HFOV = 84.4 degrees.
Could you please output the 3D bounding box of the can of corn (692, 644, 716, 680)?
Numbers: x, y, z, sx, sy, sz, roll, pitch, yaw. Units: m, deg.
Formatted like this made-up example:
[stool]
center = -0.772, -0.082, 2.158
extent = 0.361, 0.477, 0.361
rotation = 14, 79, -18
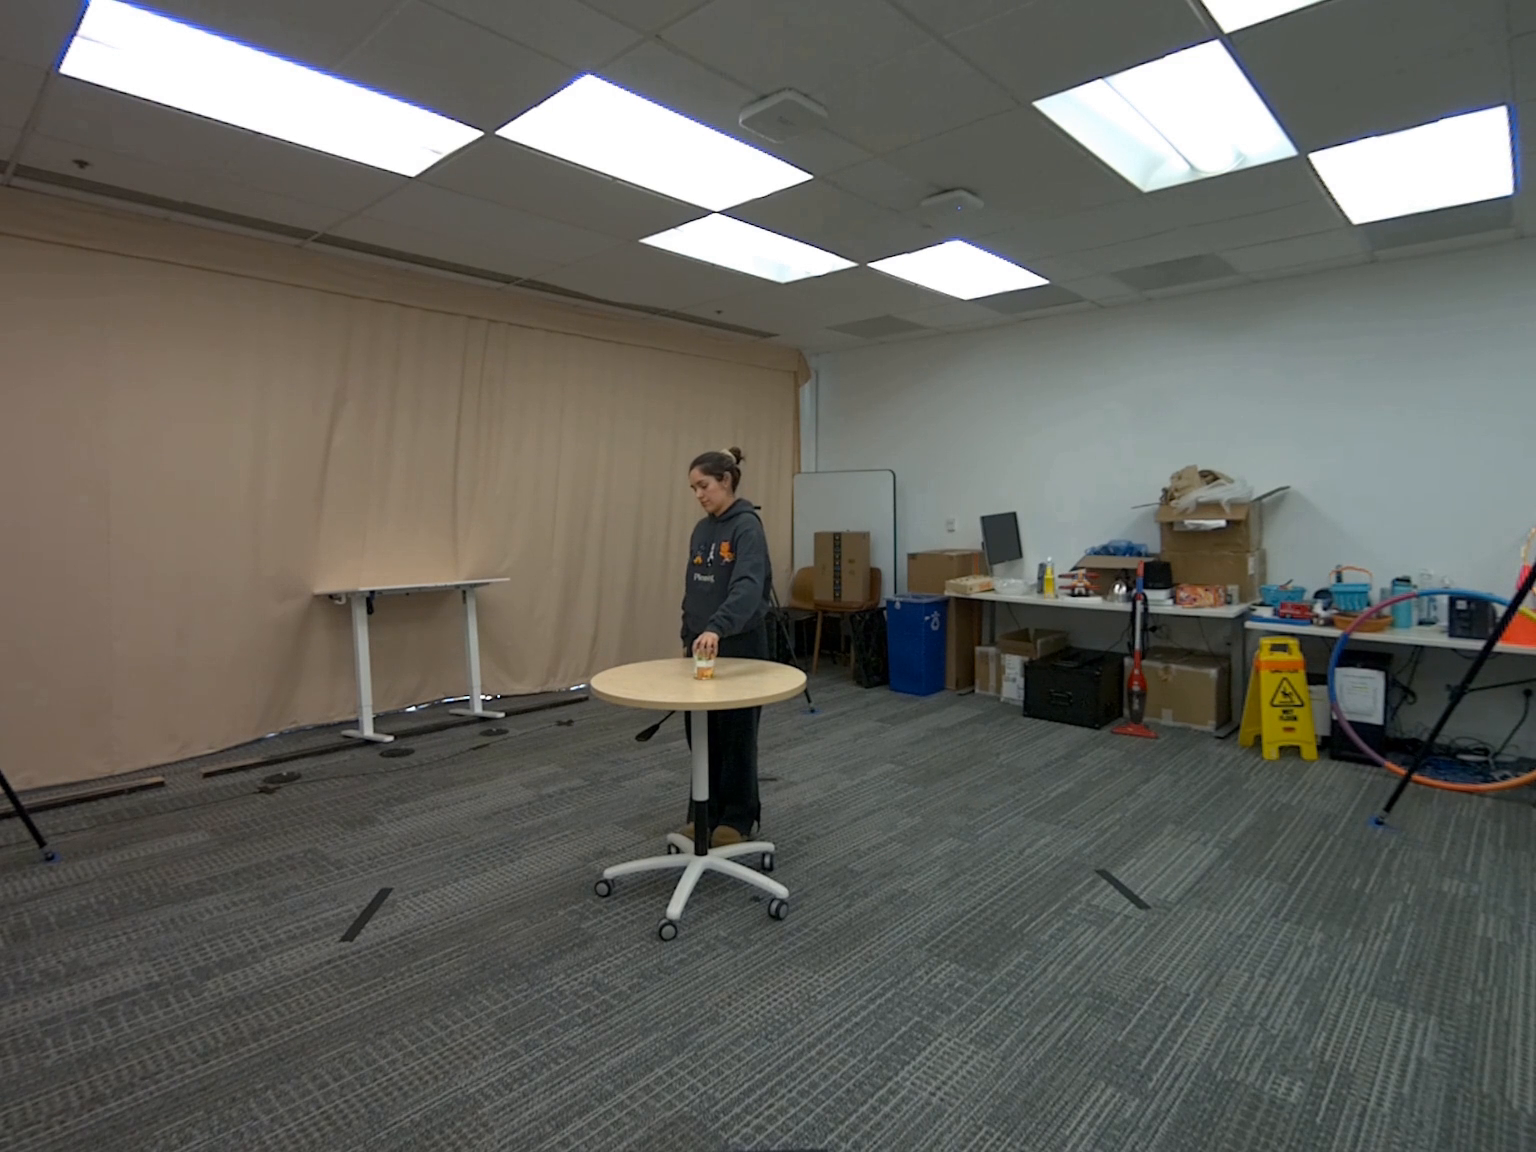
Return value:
[can of corn]
center = -0.214, 0.296, 2.983
extent = 0.074, 0.111, 0.074
rotation = 2, 3, -2
